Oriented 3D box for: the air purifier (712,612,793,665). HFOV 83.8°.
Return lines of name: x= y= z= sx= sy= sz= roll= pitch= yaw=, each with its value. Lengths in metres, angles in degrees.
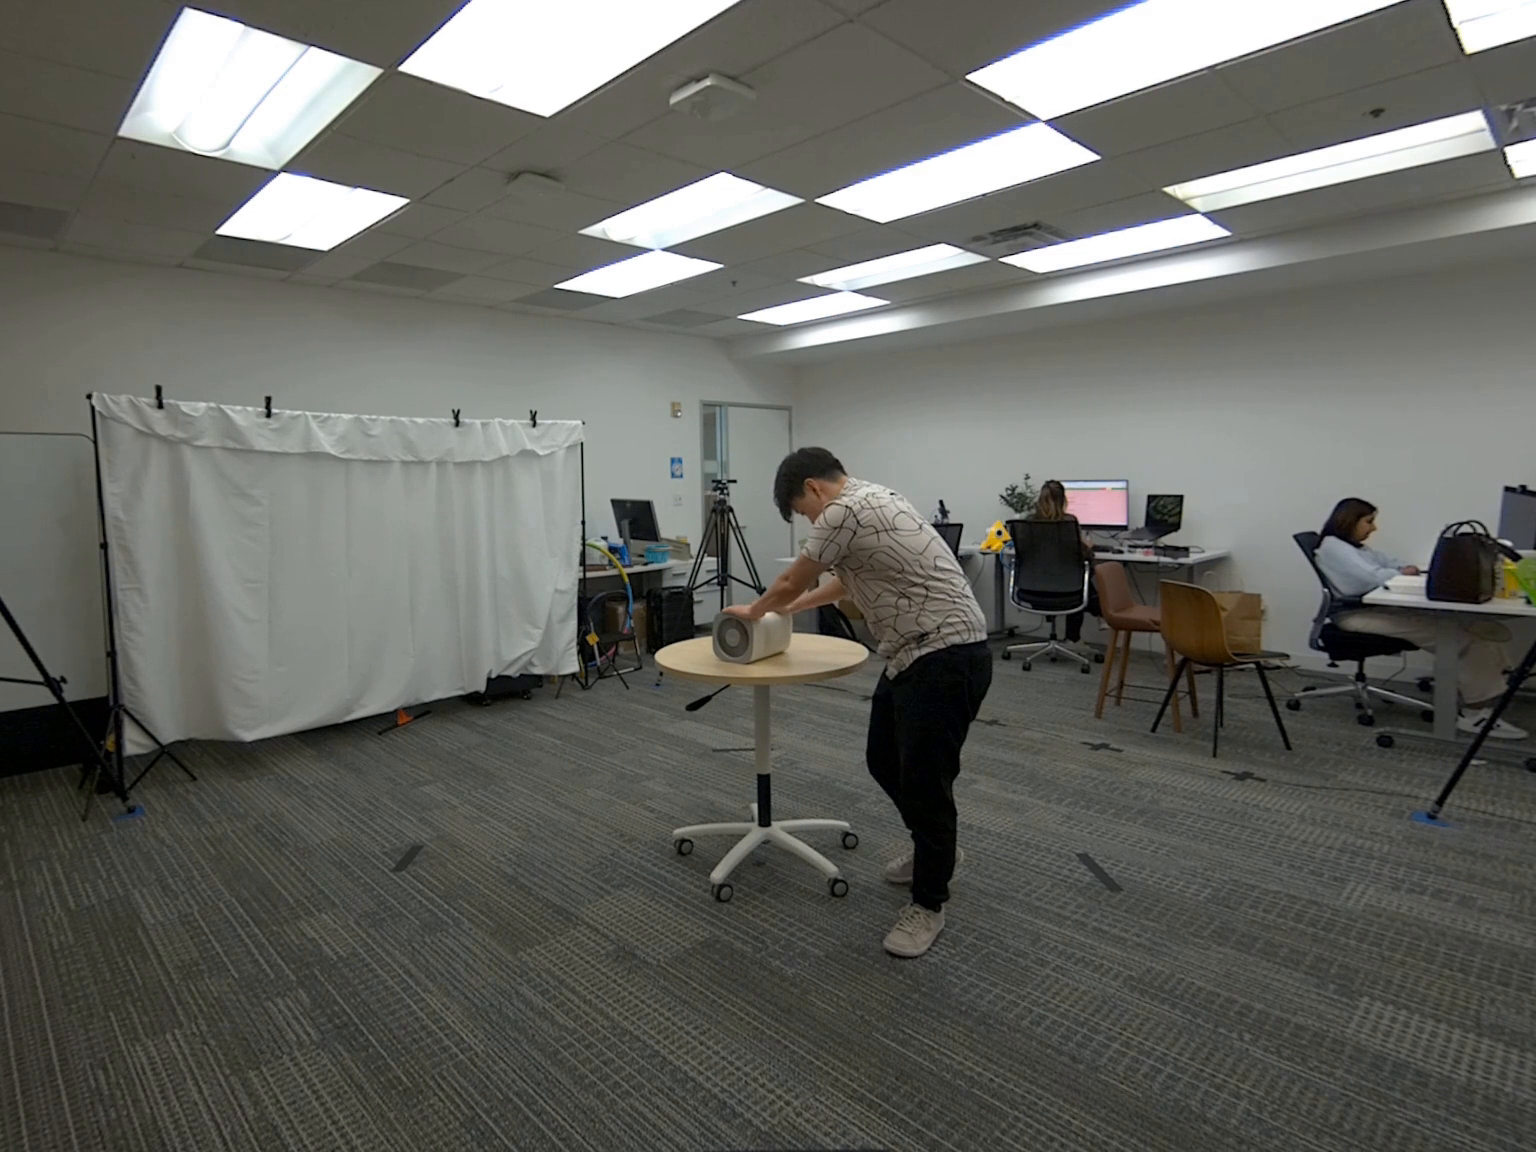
air purifier: x=-0.047 y=0.195 z=3.006 sx=0.176 sy=0.170 sz=0.259 roll=8 pitch=10 yaw=34
